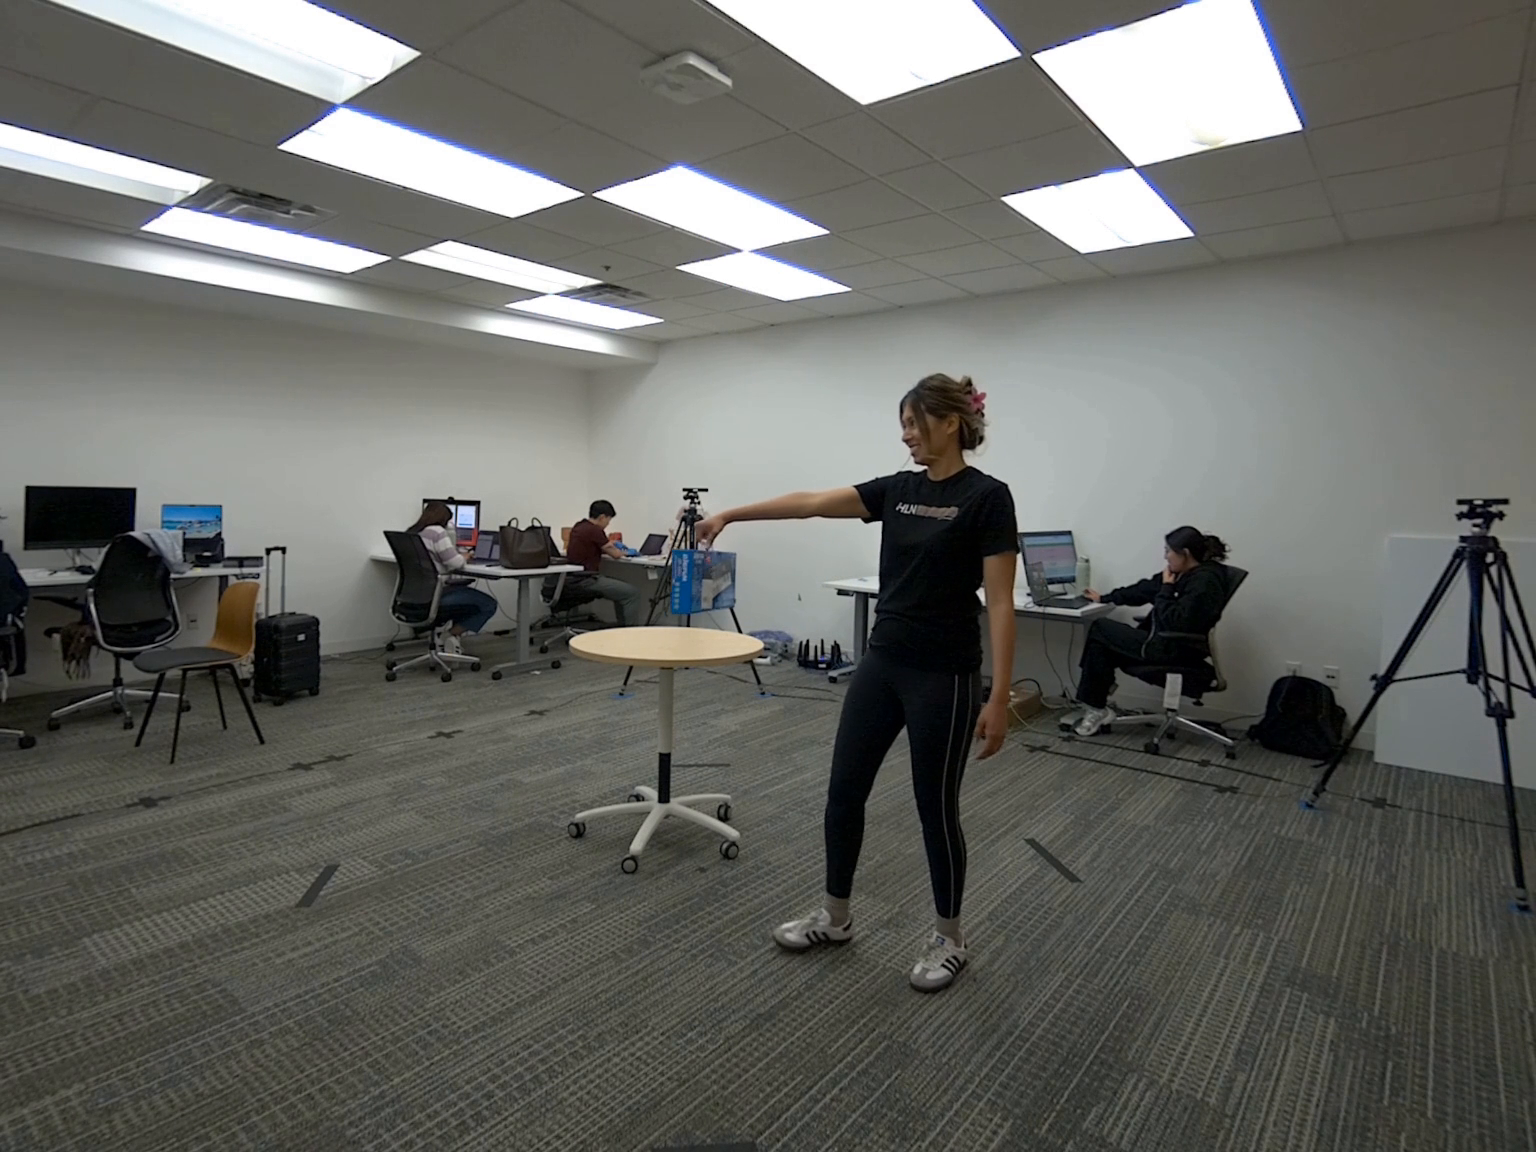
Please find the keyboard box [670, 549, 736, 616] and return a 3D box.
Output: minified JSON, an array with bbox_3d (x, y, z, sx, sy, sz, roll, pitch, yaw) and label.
[{"bbox_3d":[-0.185,0.014,2.456,0.060,0.176,0.430,0,0,12],"label":"keyboard box"}]
